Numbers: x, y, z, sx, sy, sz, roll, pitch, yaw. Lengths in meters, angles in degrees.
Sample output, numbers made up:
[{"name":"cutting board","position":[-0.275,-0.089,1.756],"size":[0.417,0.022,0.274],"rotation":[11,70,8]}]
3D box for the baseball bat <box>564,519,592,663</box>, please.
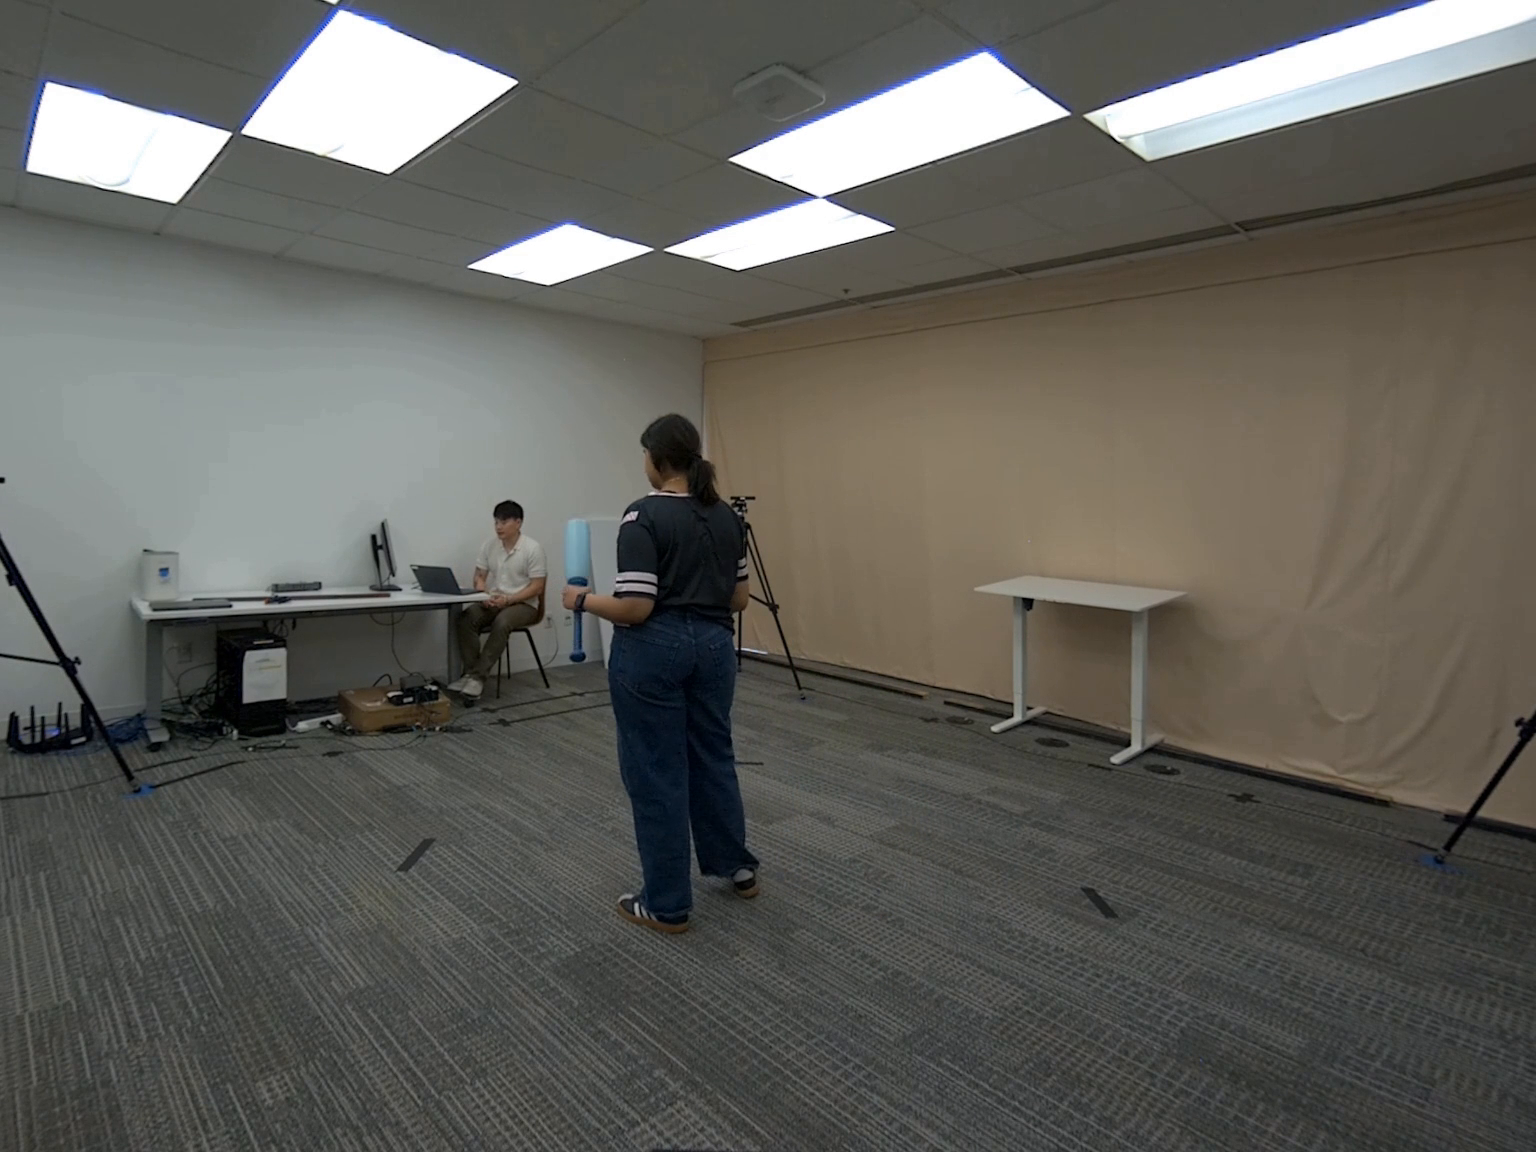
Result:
[{"name":"baseball bat","position":[-0.621,0.040,2.771],"size":[0.089,0.556,0.087],"rotation":[-6,-35,-6]}]
